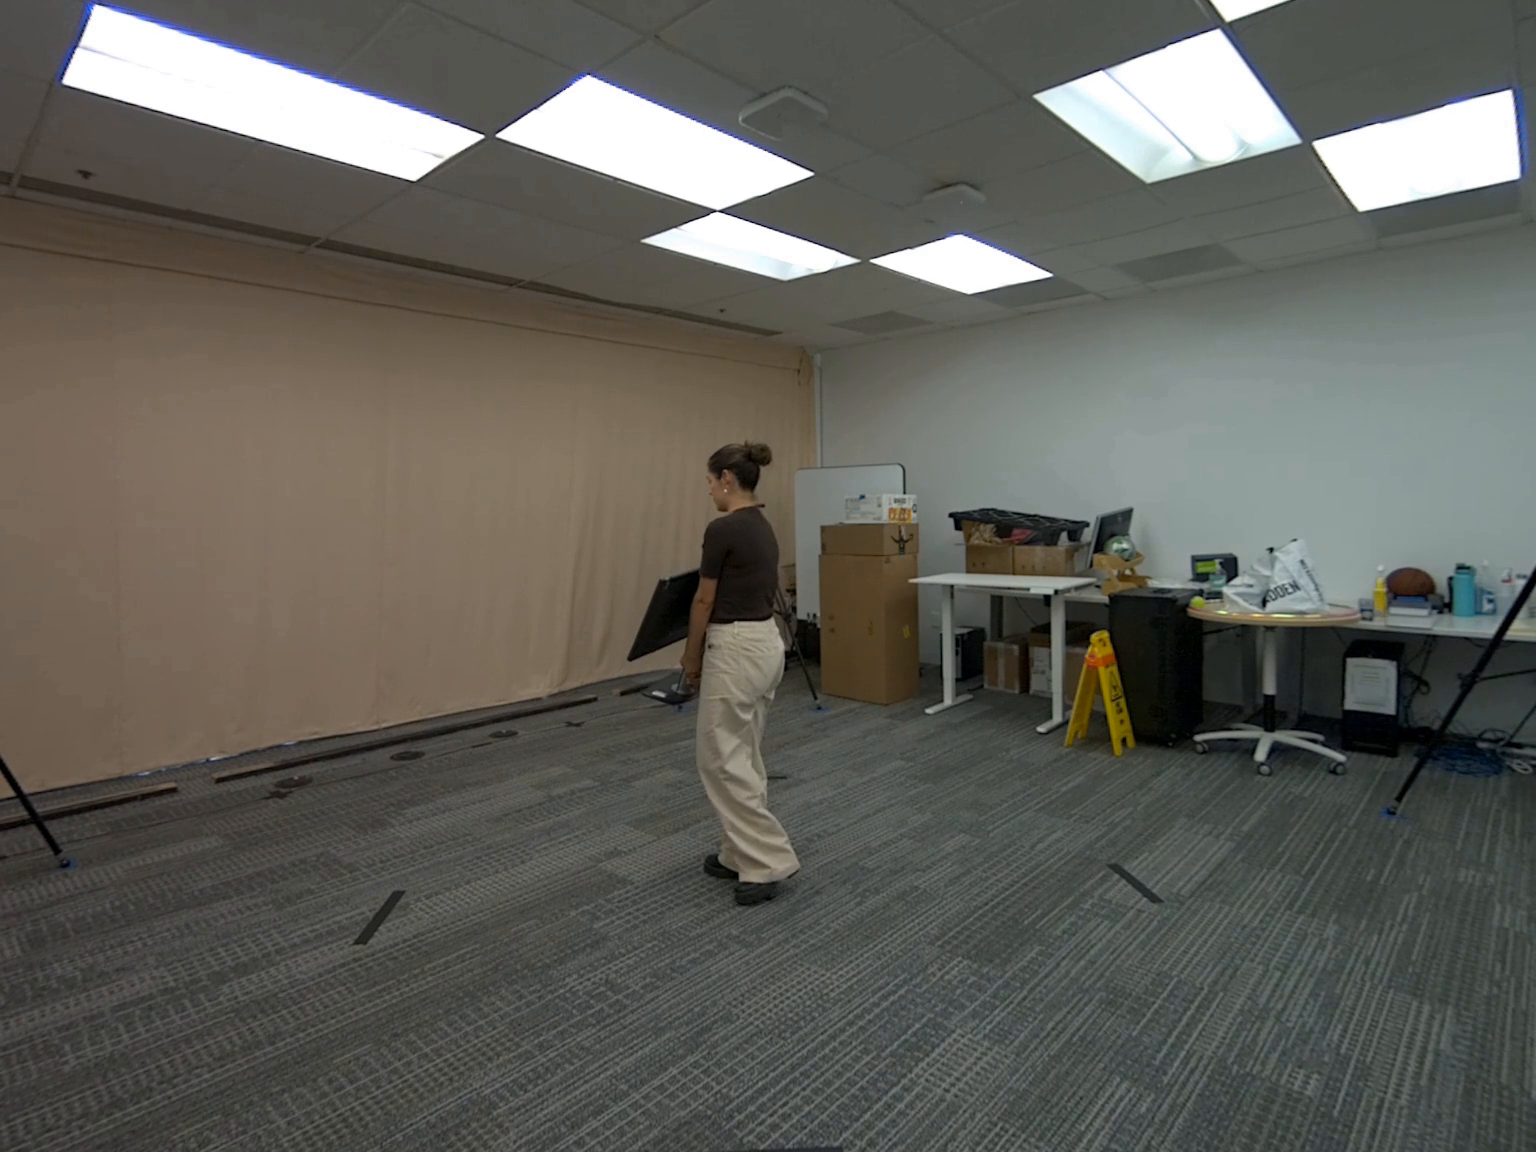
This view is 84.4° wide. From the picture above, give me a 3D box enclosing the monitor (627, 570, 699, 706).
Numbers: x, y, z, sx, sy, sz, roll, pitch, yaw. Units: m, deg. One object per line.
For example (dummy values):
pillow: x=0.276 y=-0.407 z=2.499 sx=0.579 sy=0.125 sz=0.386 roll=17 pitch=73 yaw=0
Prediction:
monitor: x=-0.297 y=0.207 z=3.194 sx=0.192 sy=0.519 sz=0.528 roll=18 pitch=18 yaw=21
